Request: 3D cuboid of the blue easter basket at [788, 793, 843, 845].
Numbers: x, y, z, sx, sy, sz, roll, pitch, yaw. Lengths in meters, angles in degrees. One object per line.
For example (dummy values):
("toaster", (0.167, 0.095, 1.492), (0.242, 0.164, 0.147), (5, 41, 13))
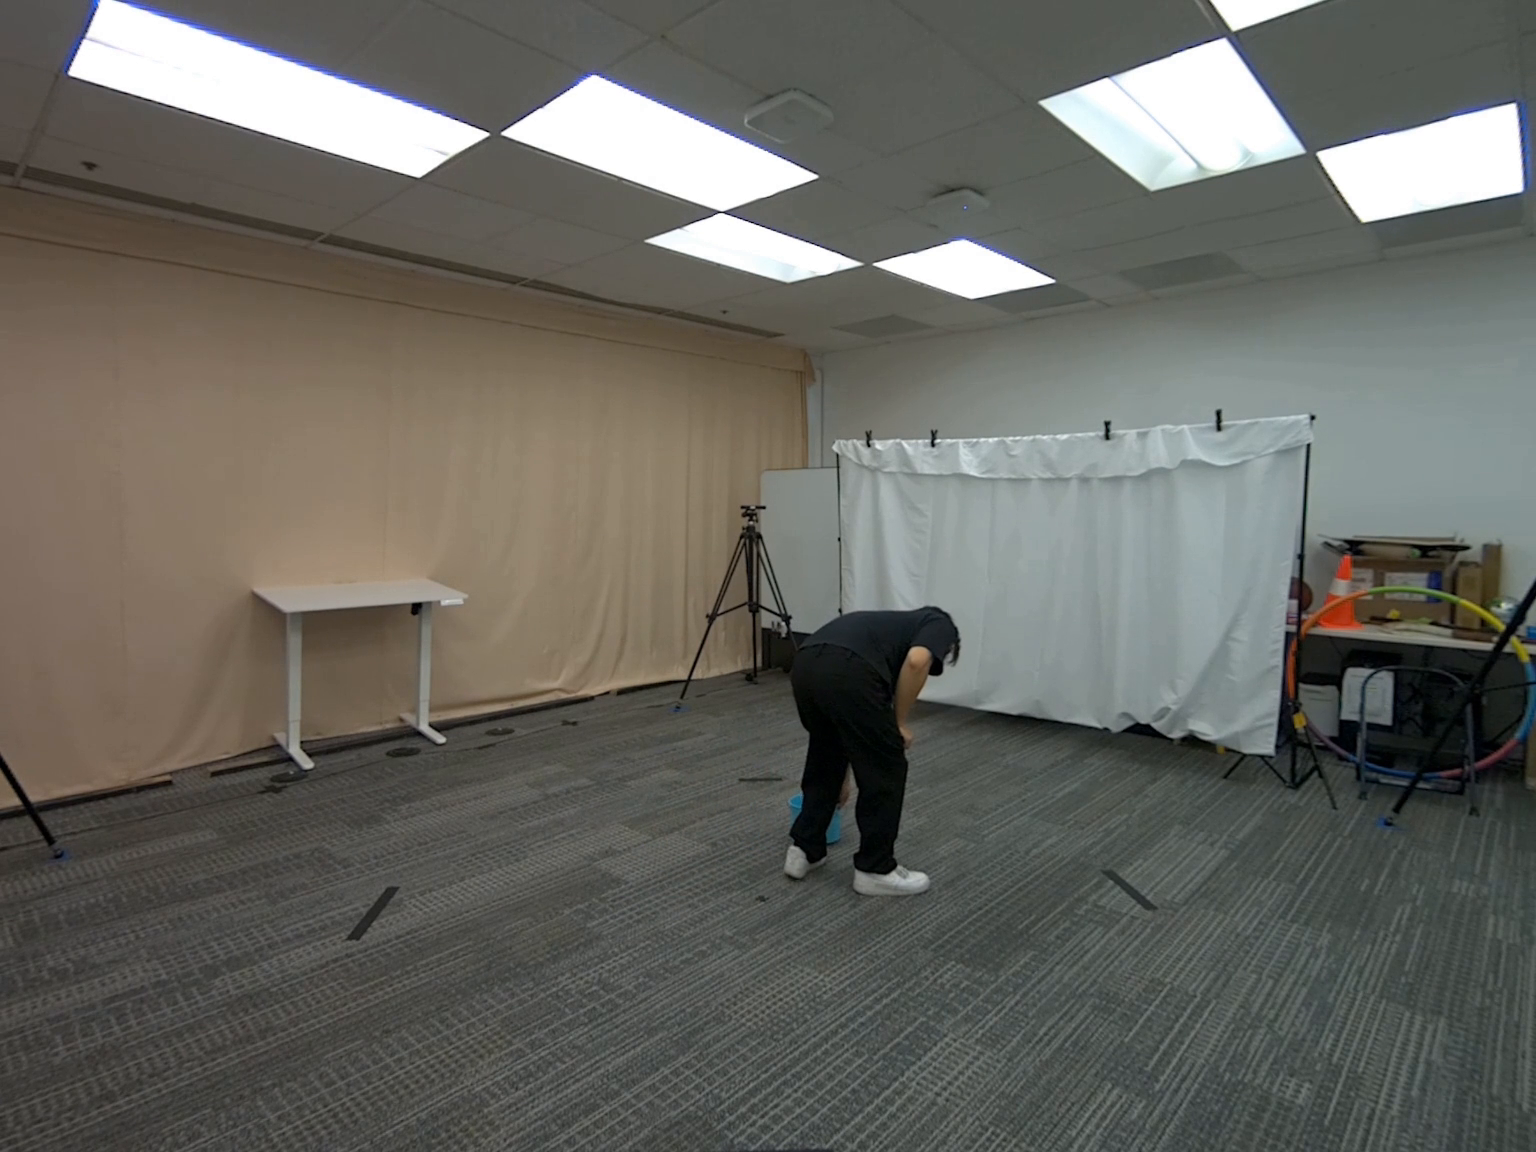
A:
("blue easter basket", (0.206, 1.017, 3.513), (0.243, 0.155, 0.244), (-2, 3, -2))
